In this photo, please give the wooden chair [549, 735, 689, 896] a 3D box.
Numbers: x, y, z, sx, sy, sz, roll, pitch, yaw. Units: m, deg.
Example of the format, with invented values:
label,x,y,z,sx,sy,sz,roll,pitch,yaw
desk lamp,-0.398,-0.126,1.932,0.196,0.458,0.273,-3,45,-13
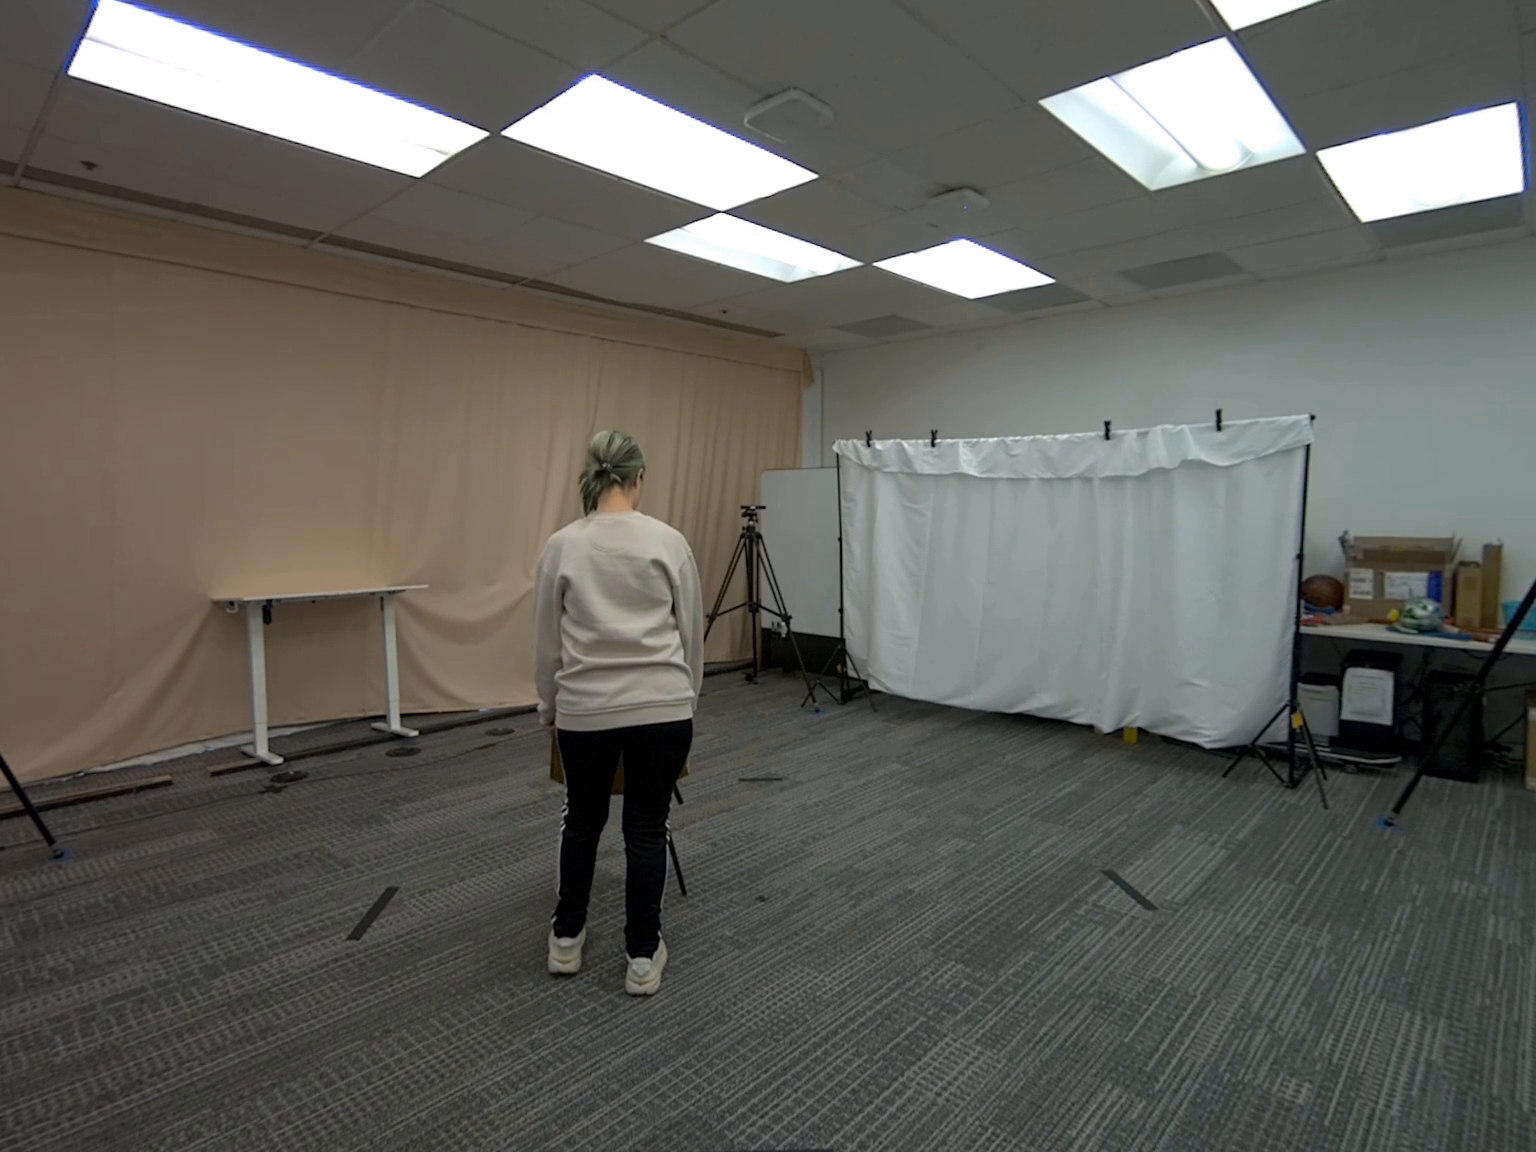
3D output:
label,x,y,z,sx,sy,sz,roll,pitch,yaw
wooden chair,-0.515,0.660,2.994,0.475,0.863,0.534,0,34,-6
